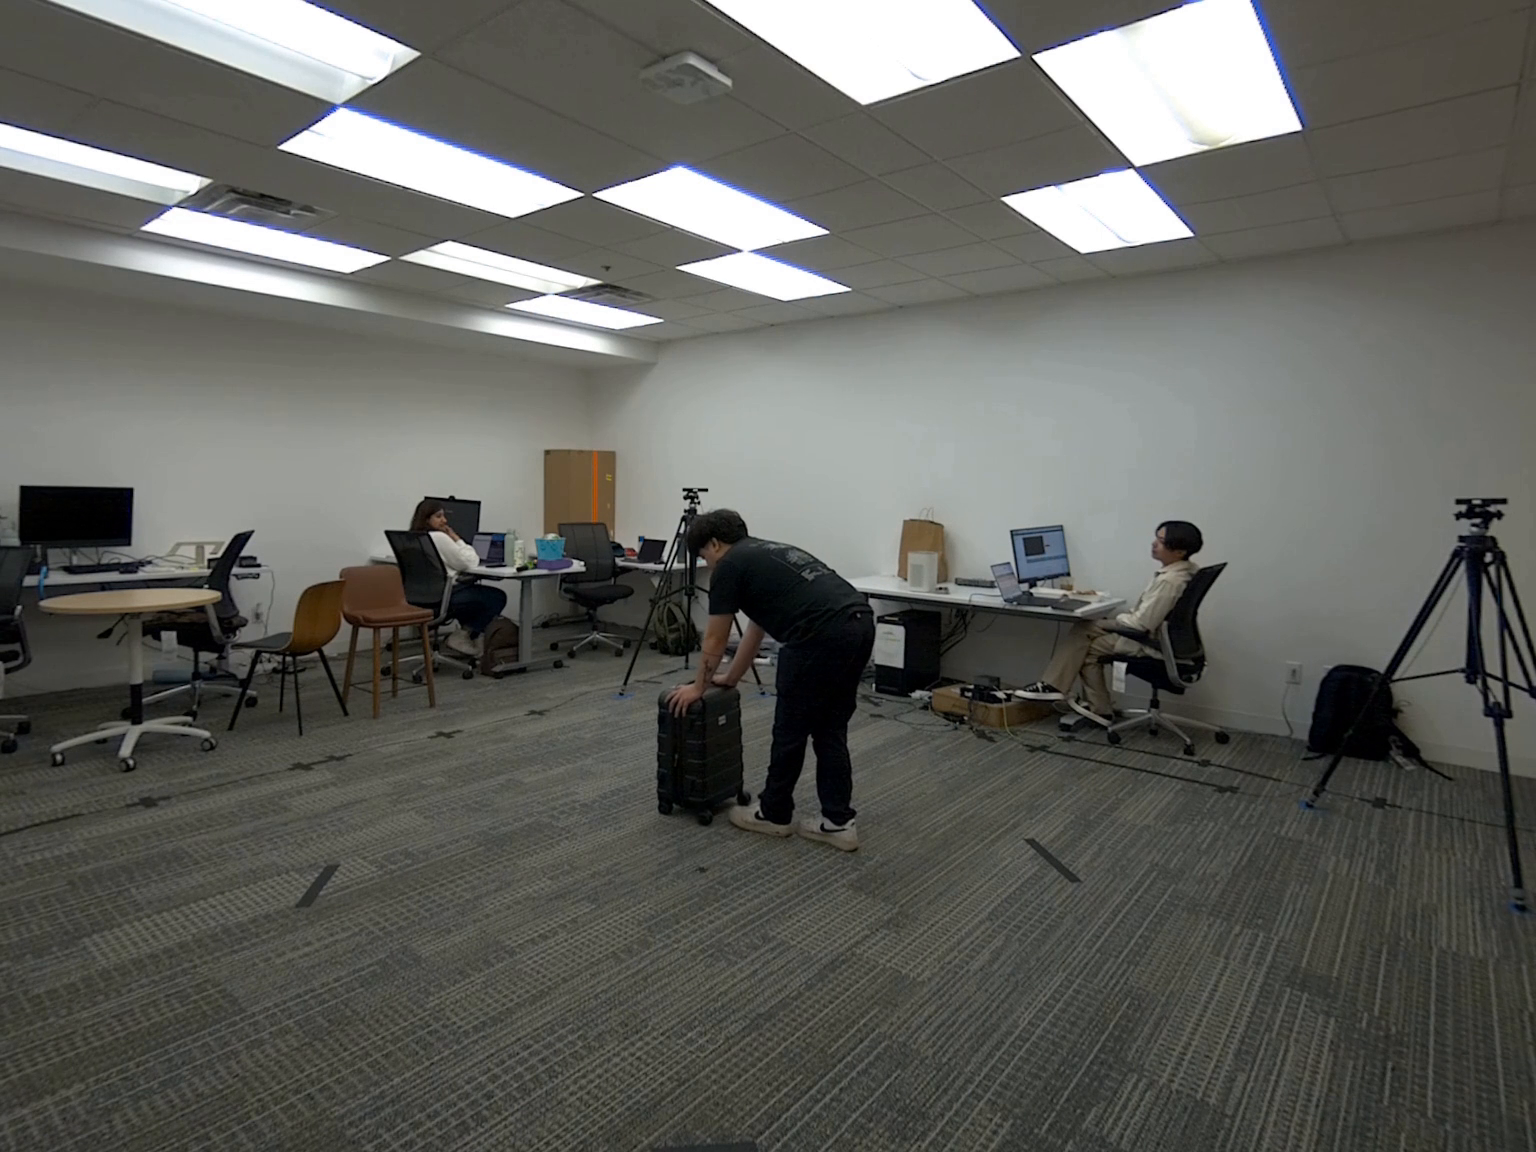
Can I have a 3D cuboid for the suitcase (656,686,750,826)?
[{"bbox_3d":[-0.303,0.738,3.714,0.255,0.548,0.365,0,3,32],"label":"suitcase"}]
